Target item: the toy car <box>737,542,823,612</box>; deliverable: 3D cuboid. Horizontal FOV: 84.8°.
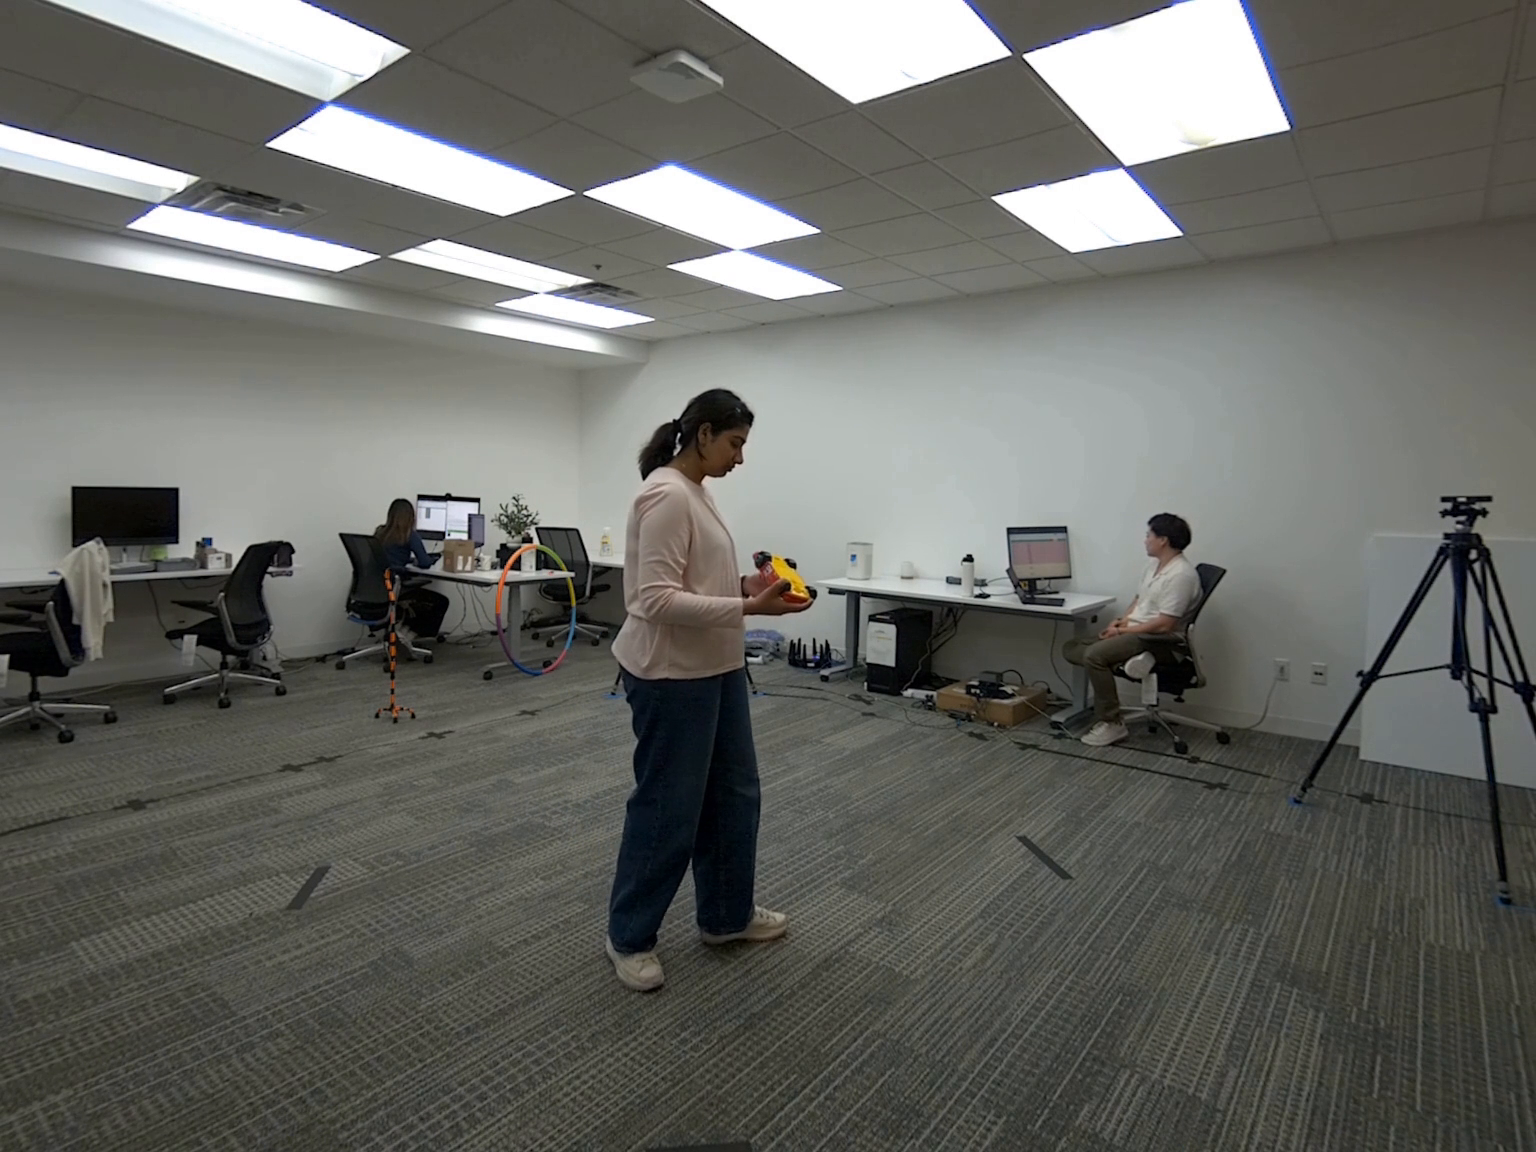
[{"bbox_3d":[0.023,-0.002,2.366,0.126,0.083,0.264,14,13,-30],"label":"toy car"}]
